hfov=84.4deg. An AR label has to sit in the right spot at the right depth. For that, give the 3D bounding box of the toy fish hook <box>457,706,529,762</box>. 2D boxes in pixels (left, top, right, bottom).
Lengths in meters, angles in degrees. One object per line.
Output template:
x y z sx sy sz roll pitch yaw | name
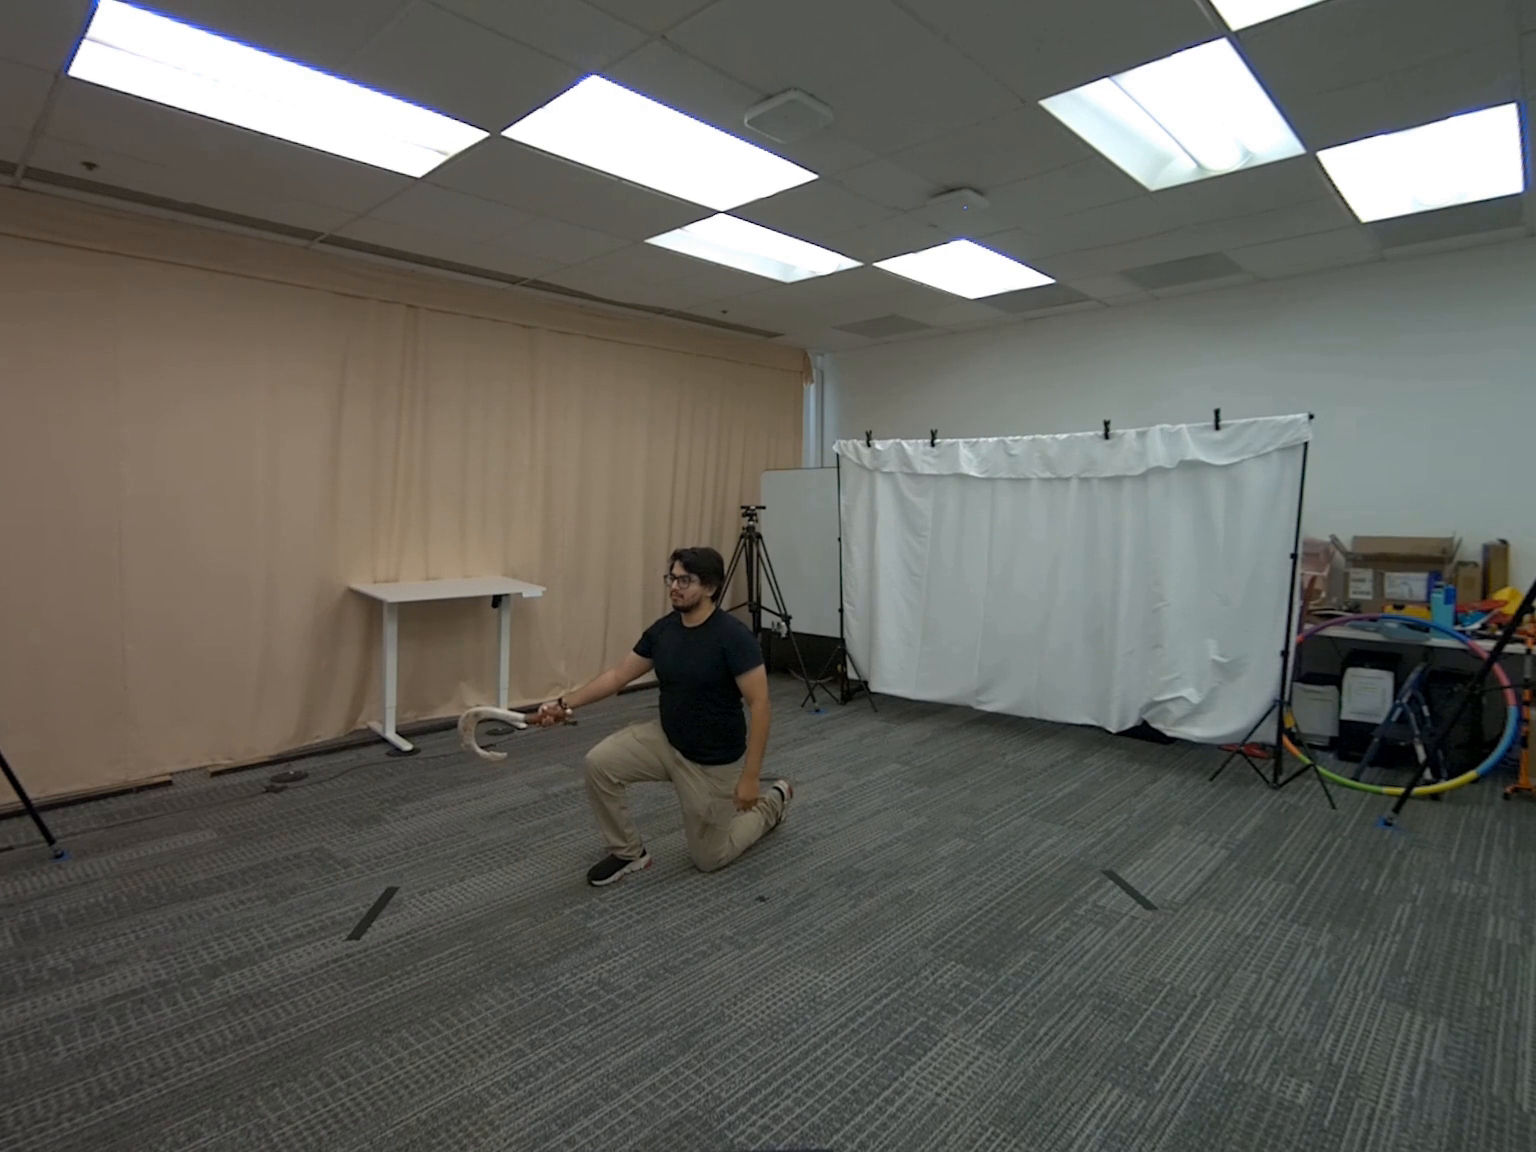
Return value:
-1.007 0.631 3.351 0.514 0.222 0.048 -5 12 15 | toy fish hook
